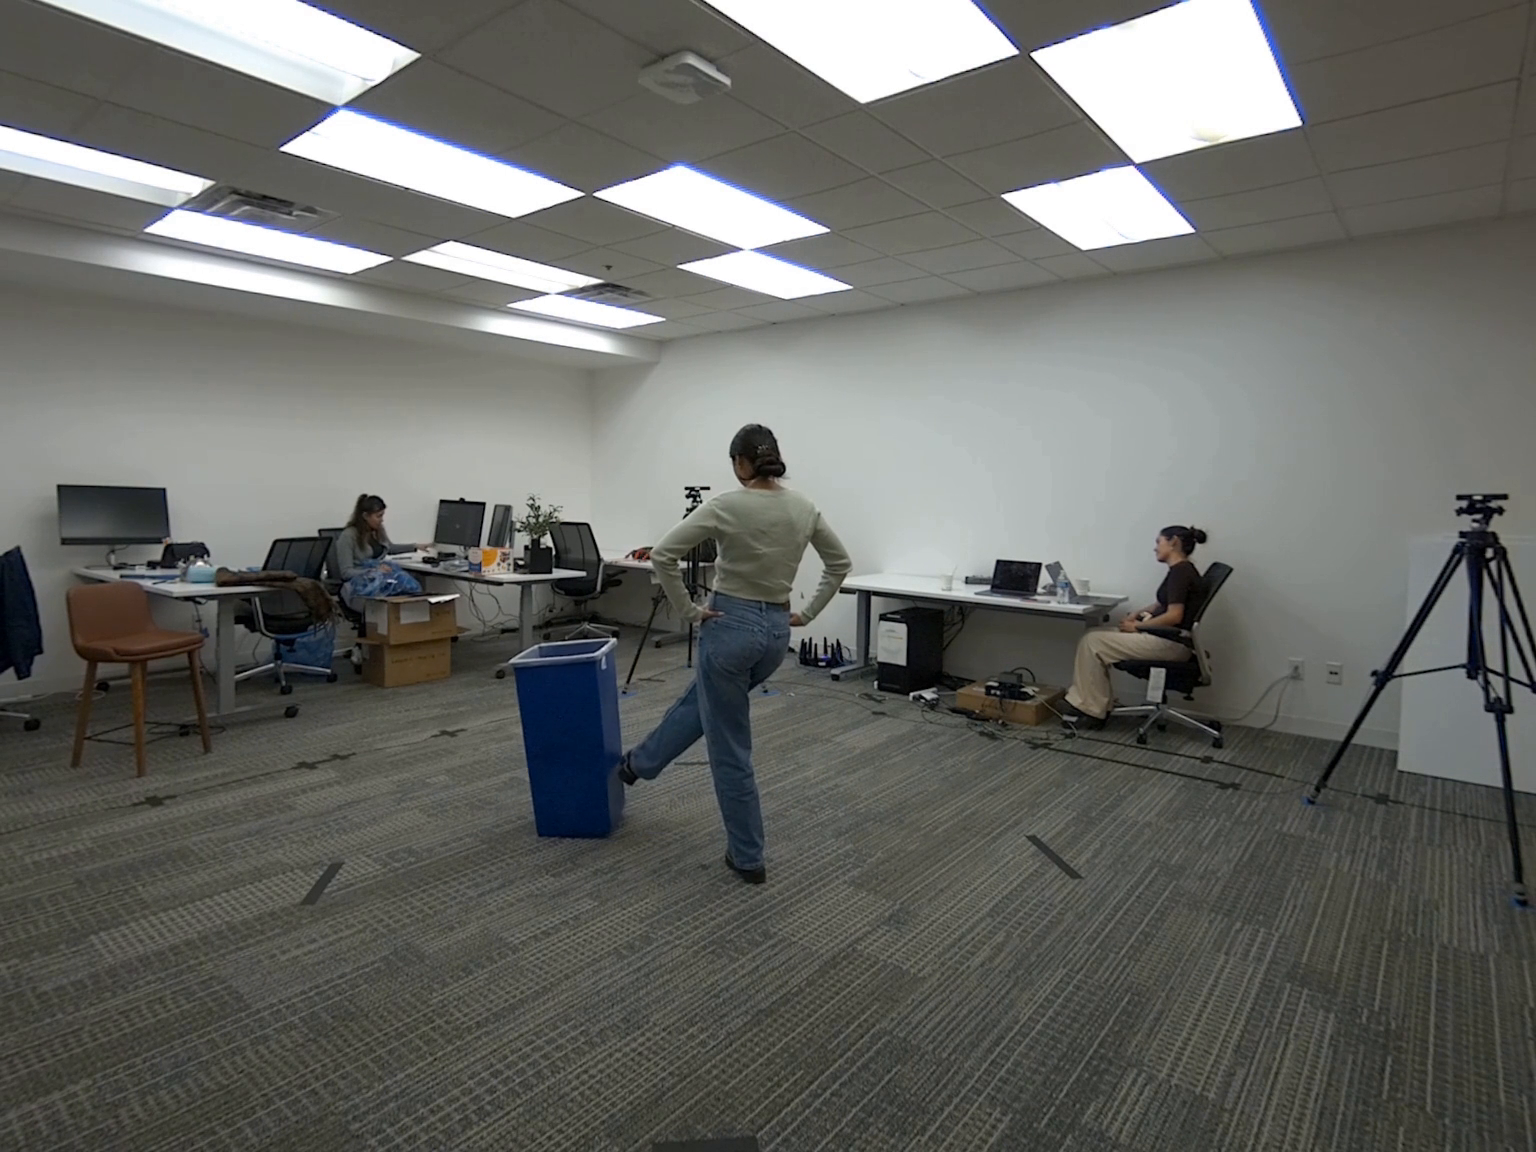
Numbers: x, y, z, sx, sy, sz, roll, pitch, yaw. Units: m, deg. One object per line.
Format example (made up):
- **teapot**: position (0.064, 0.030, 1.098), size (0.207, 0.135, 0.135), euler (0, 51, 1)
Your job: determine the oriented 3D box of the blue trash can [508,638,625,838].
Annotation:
- **blue trash can**: position (-0.812, 0.654, 3.493), size (0.379, 0.711, 0.374), euler (-5, 4, 2)
